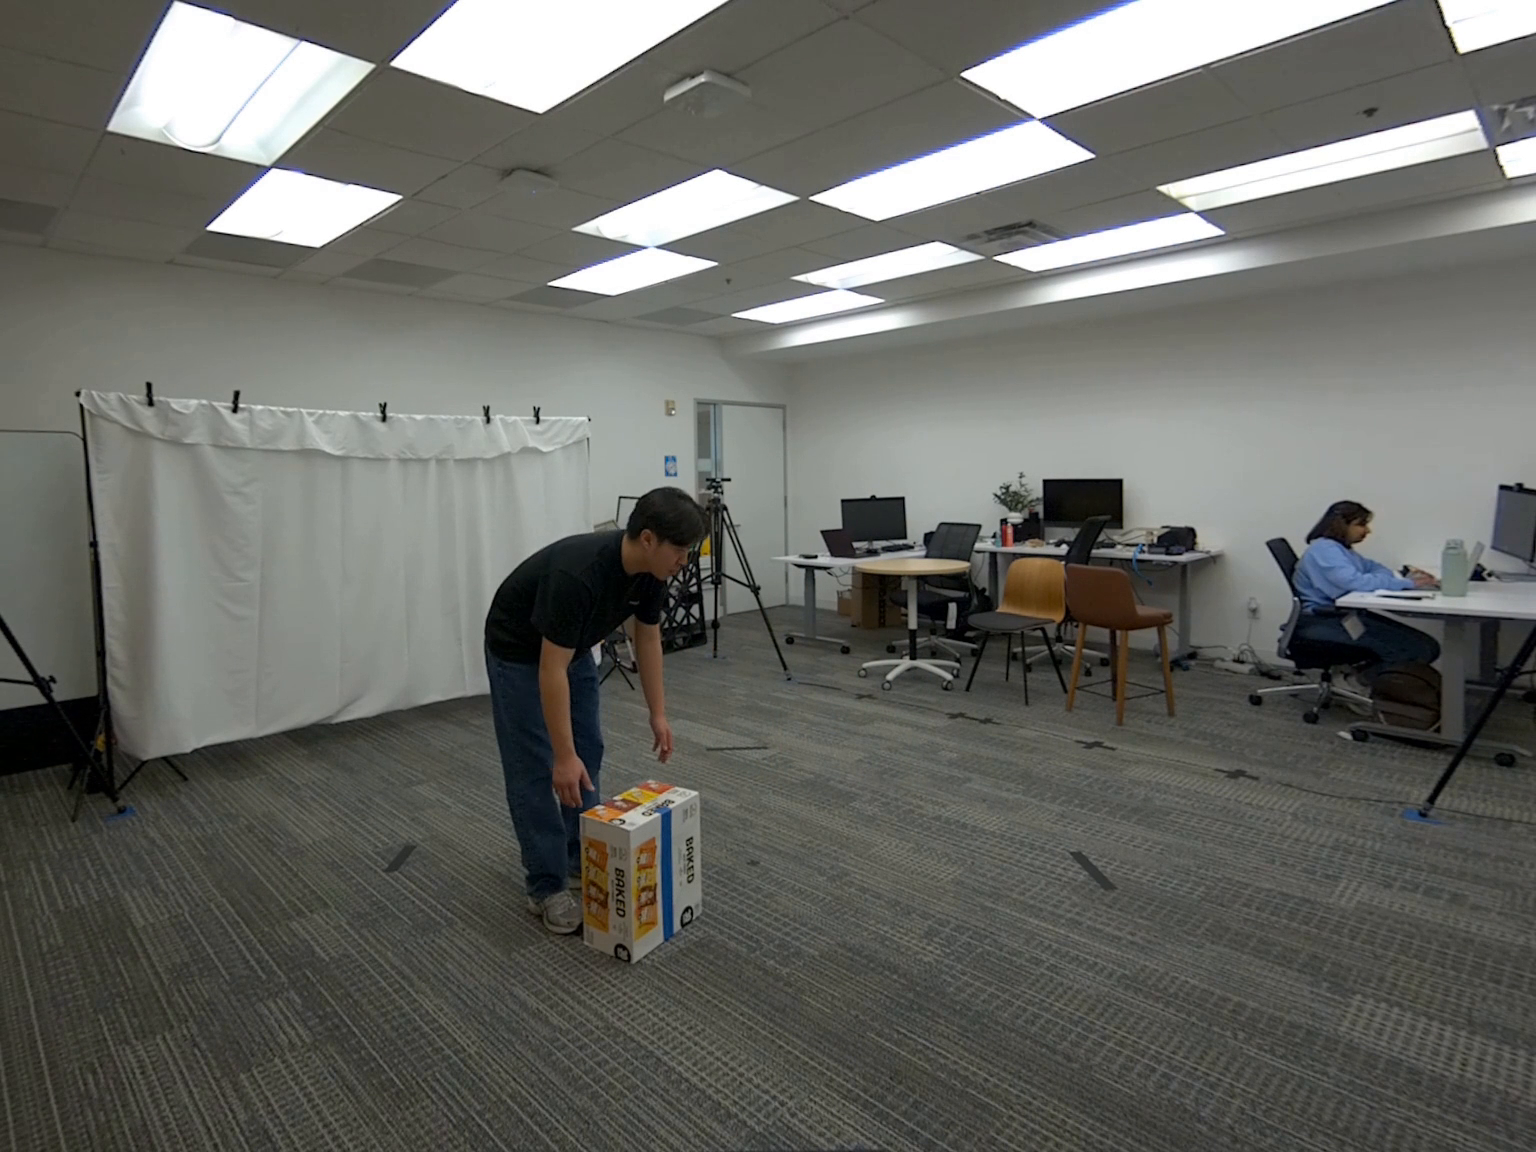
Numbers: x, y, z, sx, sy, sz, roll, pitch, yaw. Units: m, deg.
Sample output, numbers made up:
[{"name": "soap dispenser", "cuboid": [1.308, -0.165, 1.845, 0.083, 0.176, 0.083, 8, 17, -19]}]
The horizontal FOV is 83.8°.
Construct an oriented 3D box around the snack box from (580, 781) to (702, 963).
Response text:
[{"name": "snack box", "cuboid": [-0.384, 0.900, 2.648, 0.211, 0.403, 0.333, 2, 6, 32]}]
